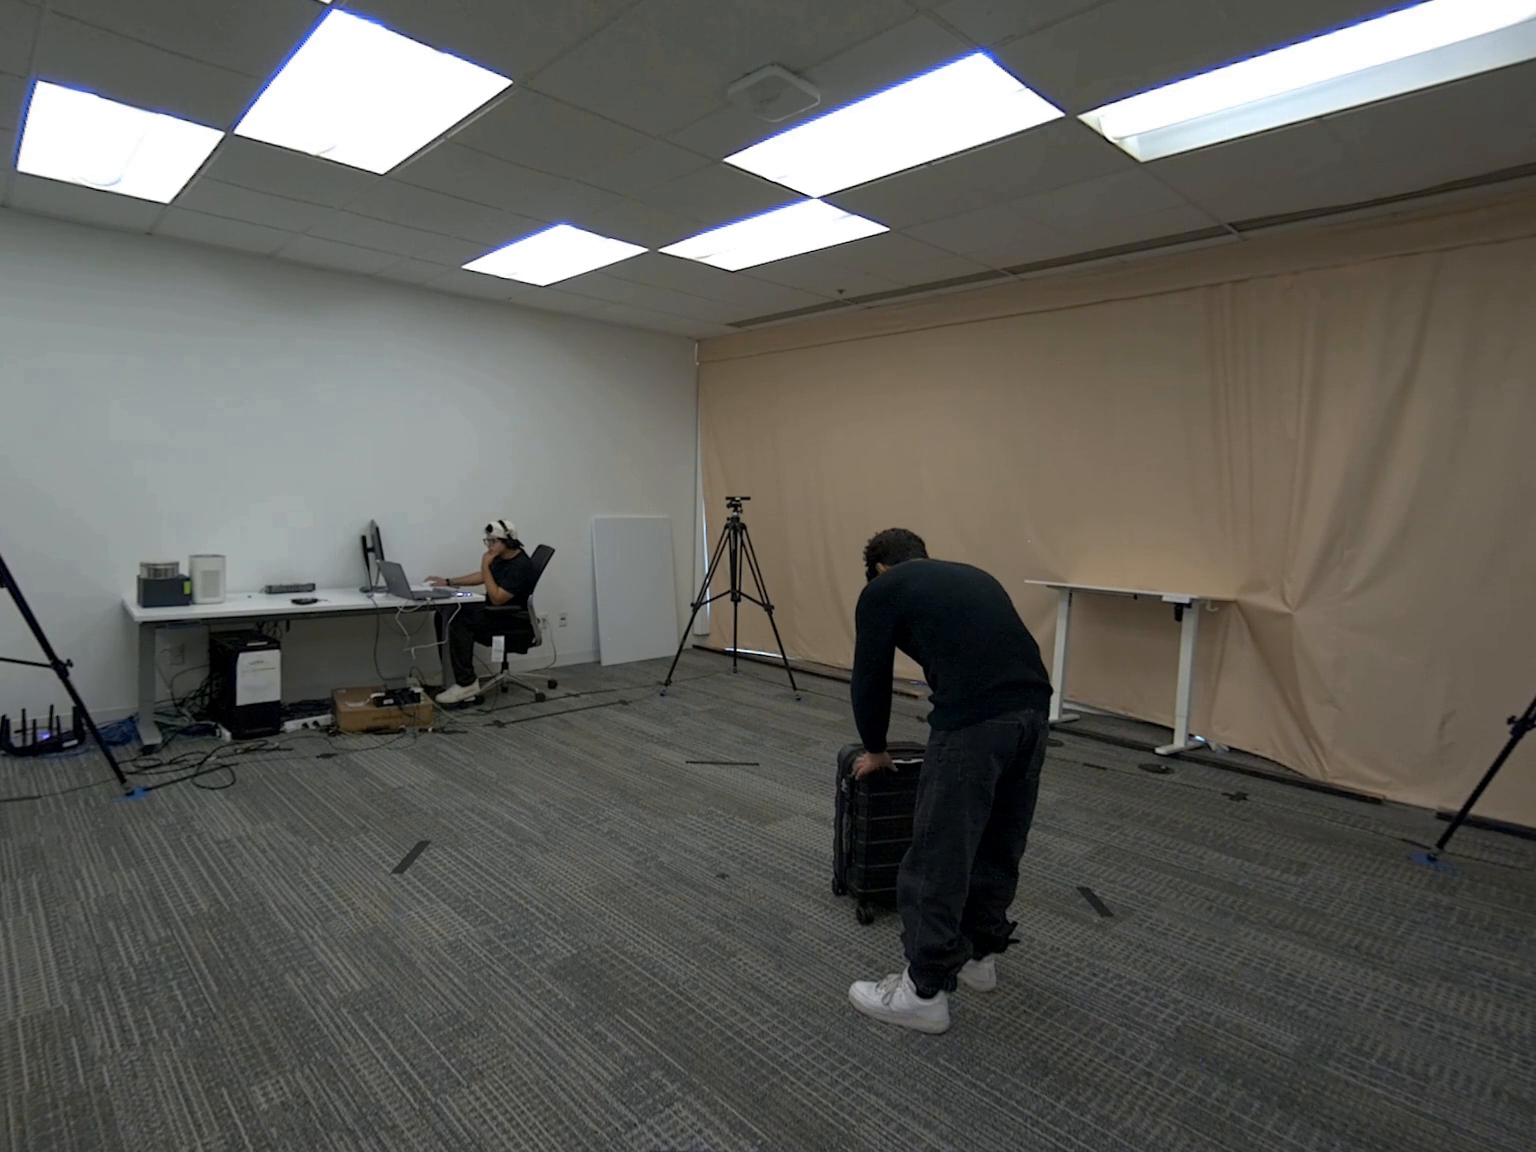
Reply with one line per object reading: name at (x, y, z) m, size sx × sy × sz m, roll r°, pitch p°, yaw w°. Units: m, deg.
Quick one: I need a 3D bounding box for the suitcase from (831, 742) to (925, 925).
suitcase at (0.417, 0.861, 2.926) m, size 0.371 × 0.549 × 0.252 m, roll 0°, pitch 2°, yaw -16°
